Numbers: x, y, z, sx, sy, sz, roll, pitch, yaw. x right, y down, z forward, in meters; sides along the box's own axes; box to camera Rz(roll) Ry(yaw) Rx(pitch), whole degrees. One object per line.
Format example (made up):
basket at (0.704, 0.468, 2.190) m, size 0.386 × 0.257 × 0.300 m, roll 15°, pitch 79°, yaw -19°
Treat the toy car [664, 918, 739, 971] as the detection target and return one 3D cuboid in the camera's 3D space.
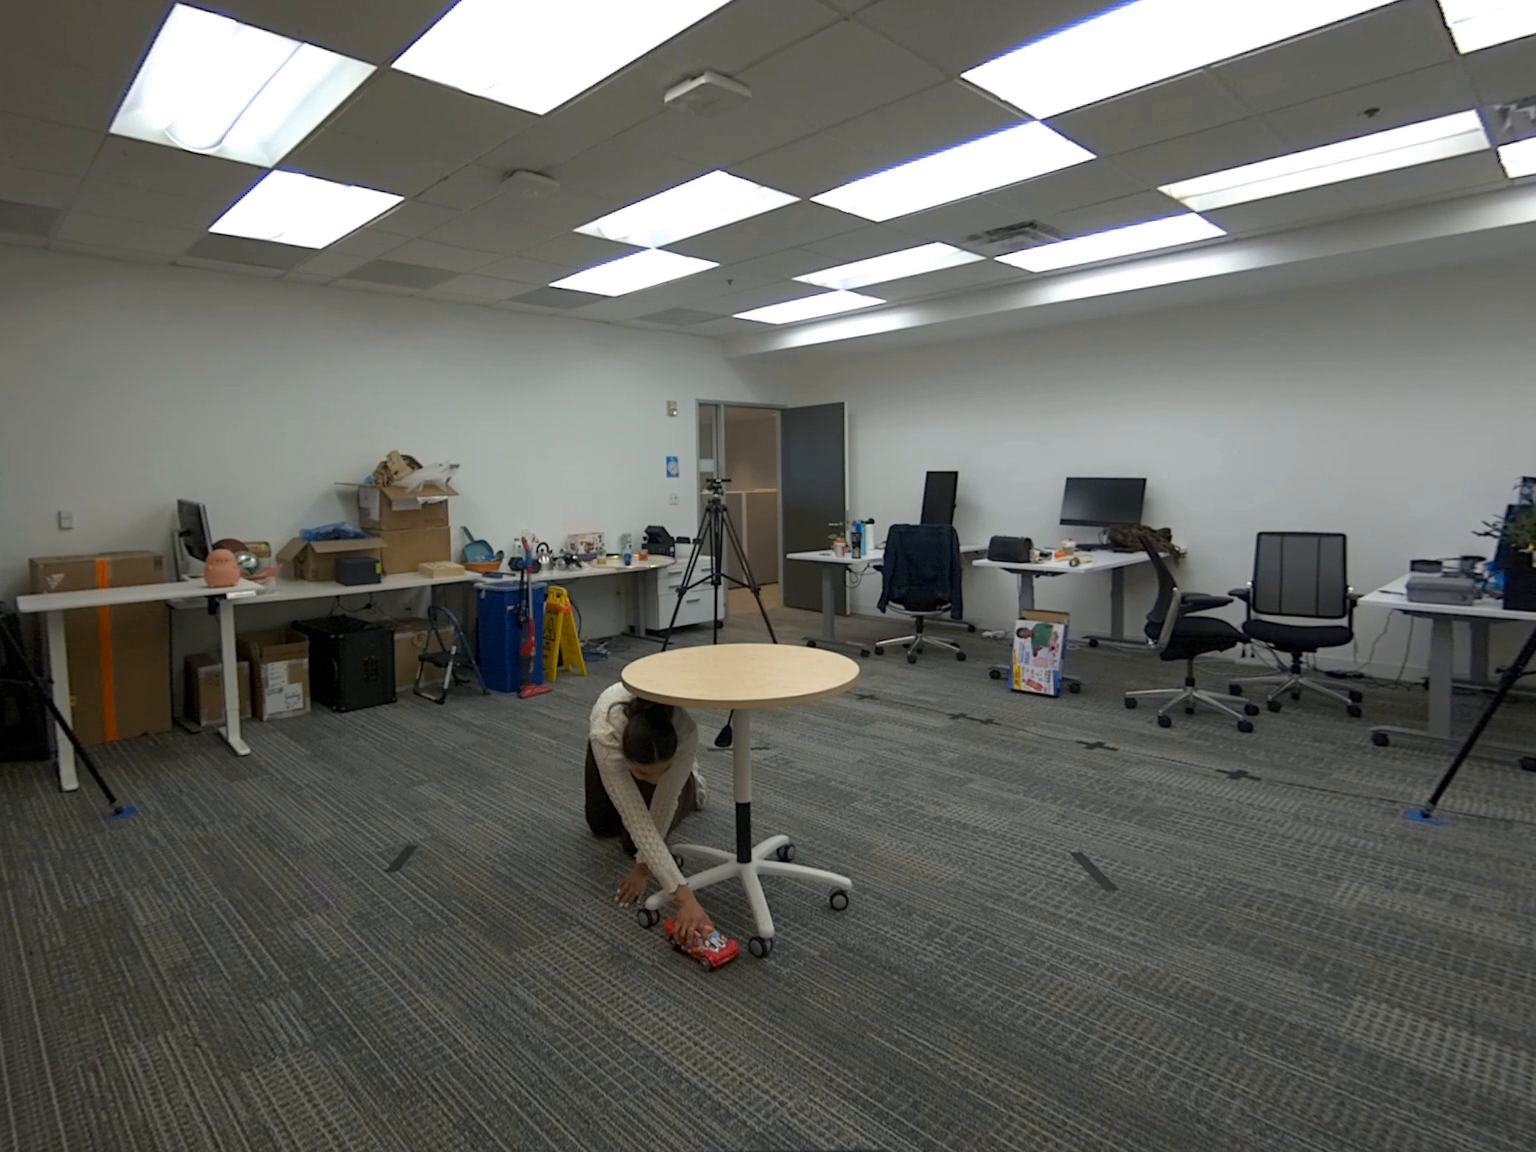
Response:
toy car at (-0.206, 1.085, 2.539) m, size 0.127 × 0.082 × 0.264 m, roll -7°, pitch 18°, yaw -42°
